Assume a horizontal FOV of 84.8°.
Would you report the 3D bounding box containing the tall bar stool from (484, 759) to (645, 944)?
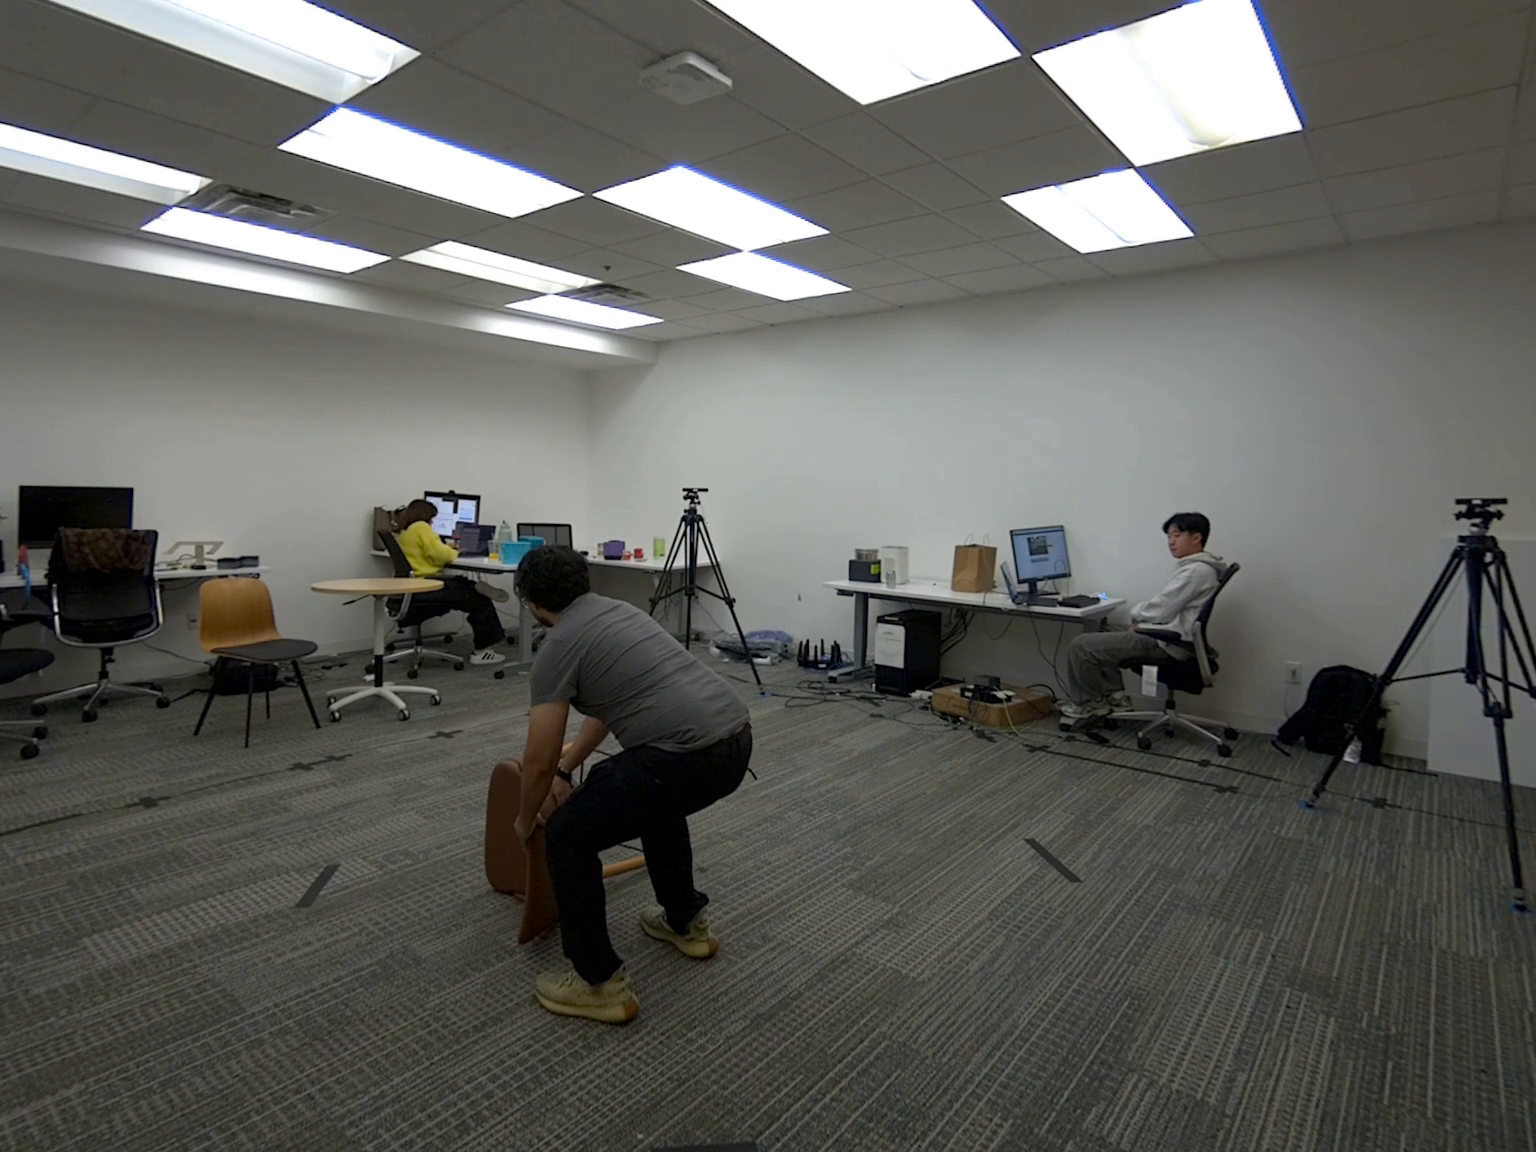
[{"bbox_3d":[-0.706,0.860,2.963,0.481,0.455,0.867,6,5,27],"label":"tall bar stool"}]
